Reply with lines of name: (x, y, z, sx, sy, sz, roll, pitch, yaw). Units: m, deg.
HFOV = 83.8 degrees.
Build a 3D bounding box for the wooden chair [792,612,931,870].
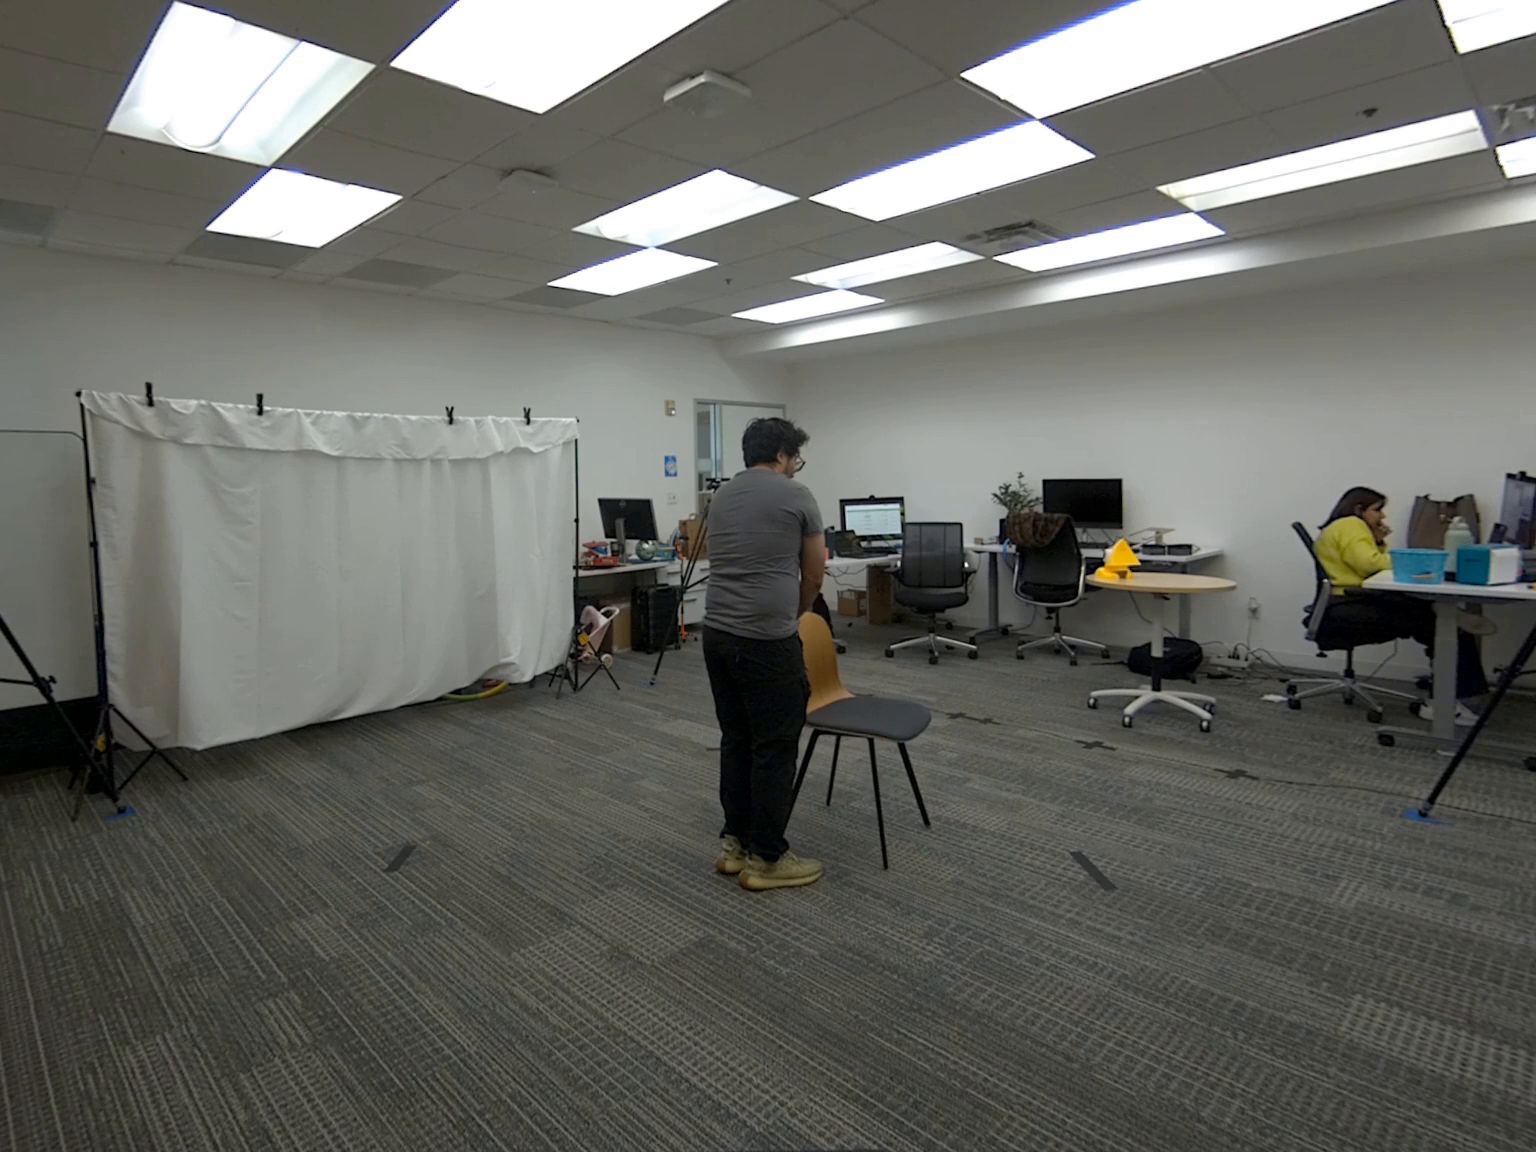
wooden chair: (0.345, 0.584, 3.312, 0.536, 0.876, 0.467, -3, 2, 31)
